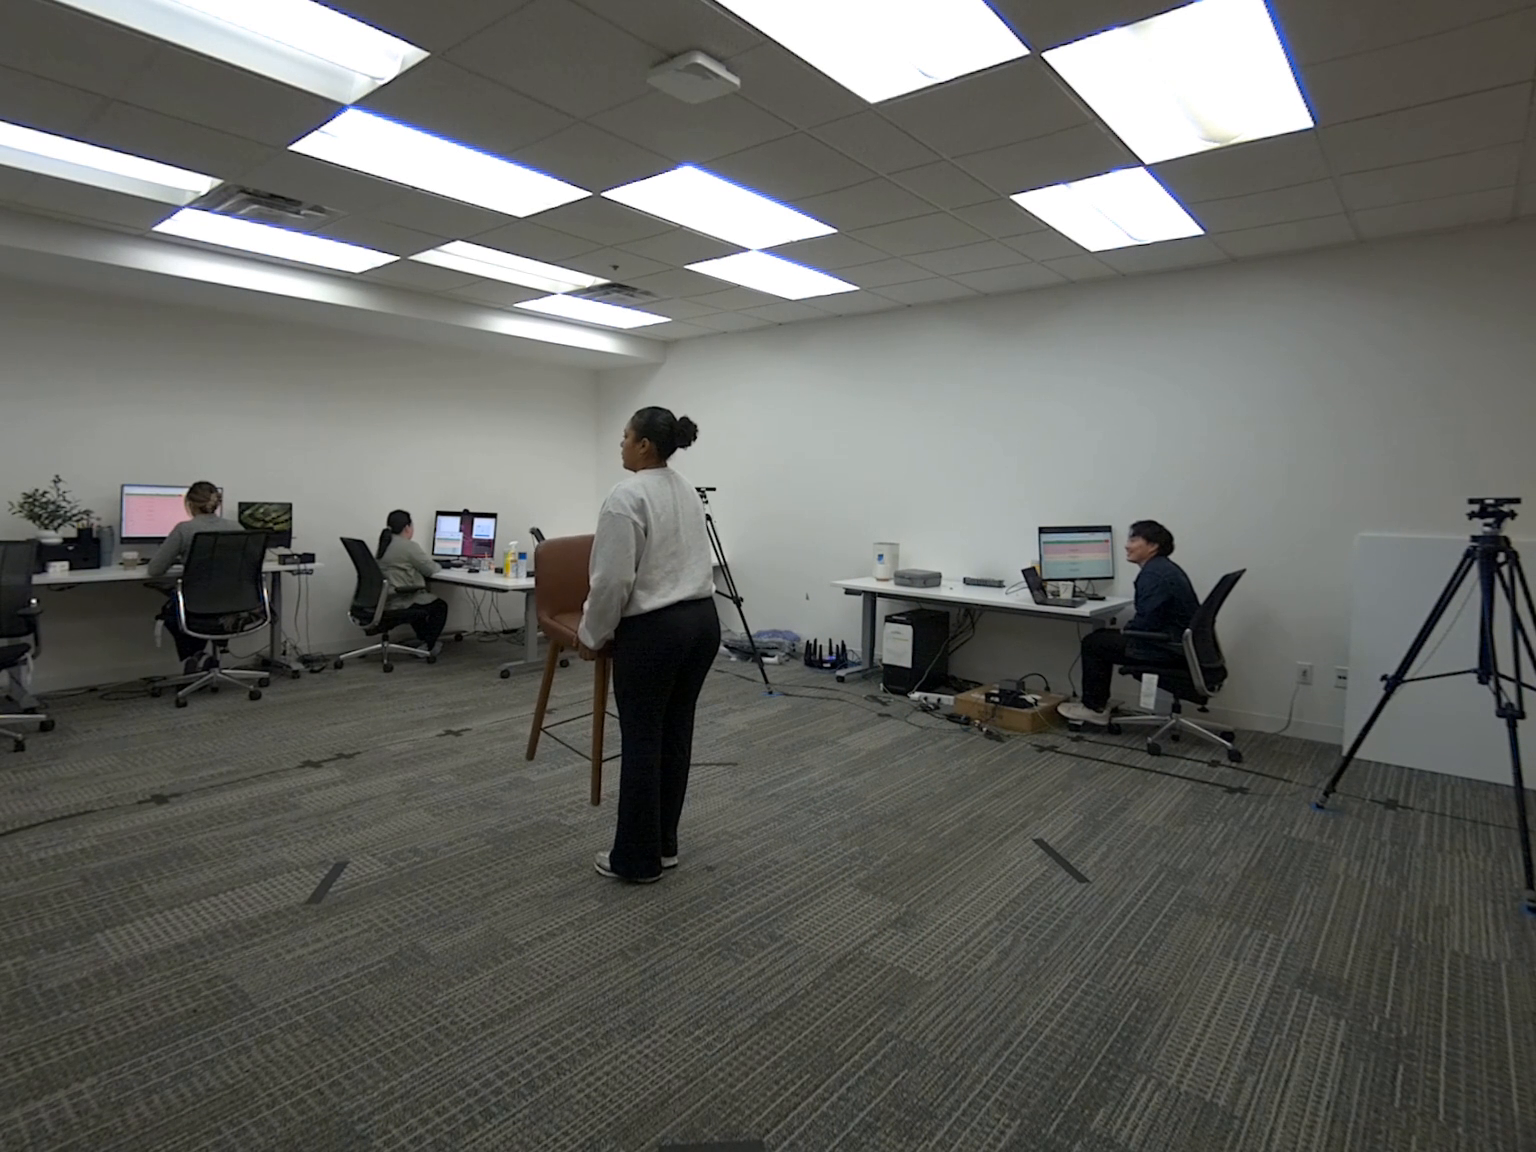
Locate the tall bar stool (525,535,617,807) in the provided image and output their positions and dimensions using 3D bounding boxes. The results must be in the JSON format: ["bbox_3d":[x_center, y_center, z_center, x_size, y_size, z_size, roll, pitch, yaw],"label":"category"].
[{"bbox_3d":[-0.639,0.327,3.245,0.485,0.882,0.443,13,12,40],"label":"tall bar stool"}]
